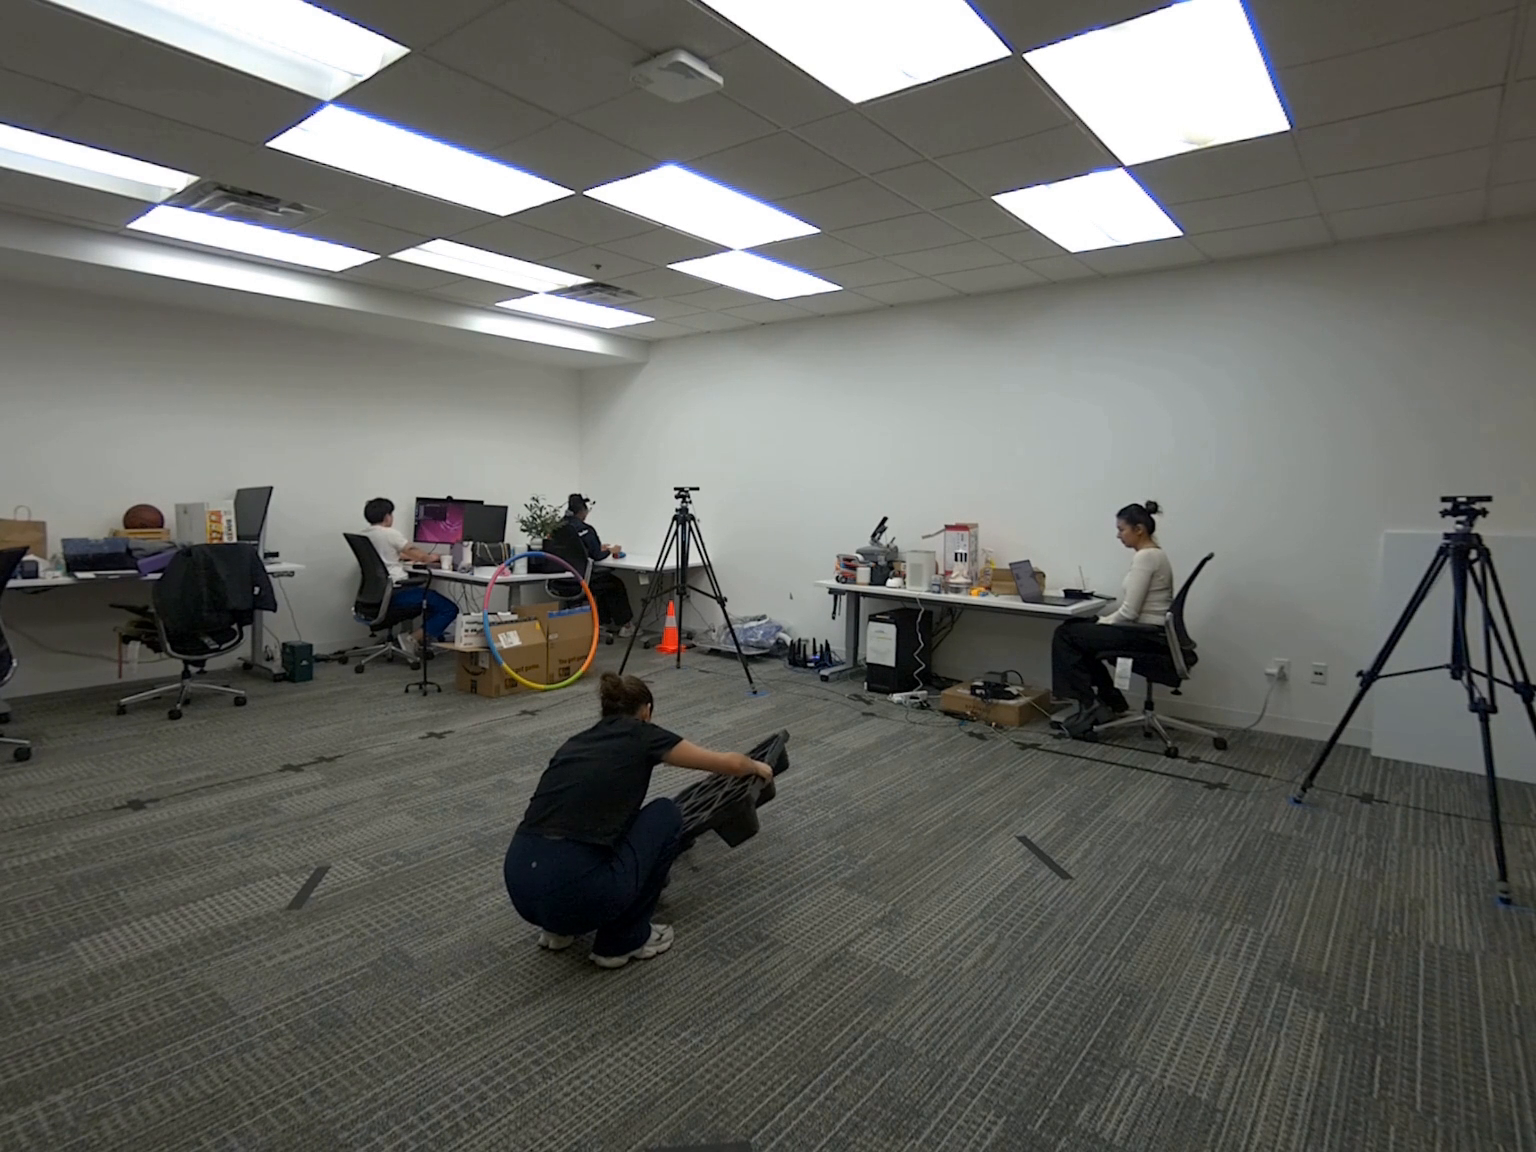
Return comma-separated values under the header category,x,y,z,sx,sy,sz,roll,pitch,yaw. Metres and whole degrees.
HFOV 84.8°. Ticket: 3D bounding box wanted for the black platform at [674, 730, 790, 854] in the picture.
category,x,y,z,sx,sy,sz,roll,pitch,yaw
black platform,-0.180,0.872,3.174,0.608,0.144,0.797,-34,-2,12
